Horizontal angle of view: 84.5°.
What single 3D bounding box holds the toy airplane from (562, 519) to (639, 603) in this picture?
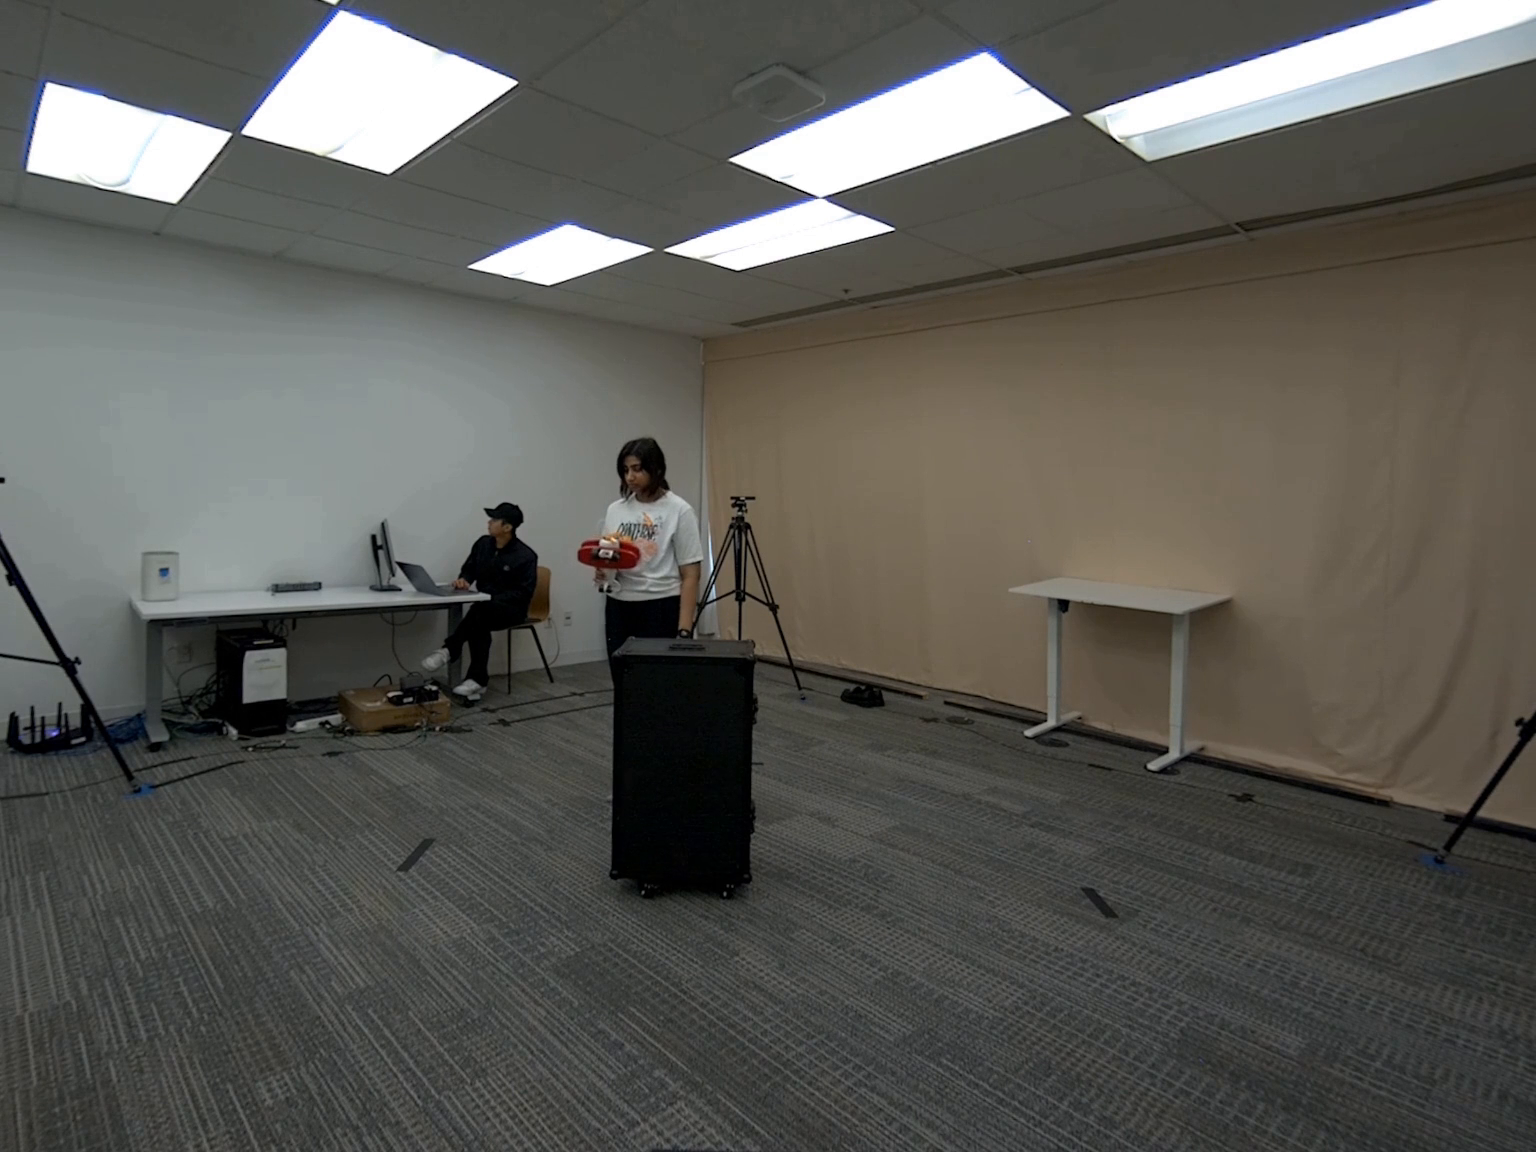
[{"bbox_3d":[-0.699,-0.054,3.628,0.246,0.259,0.159,29,34,-19],"label":"toy airplane"}]
